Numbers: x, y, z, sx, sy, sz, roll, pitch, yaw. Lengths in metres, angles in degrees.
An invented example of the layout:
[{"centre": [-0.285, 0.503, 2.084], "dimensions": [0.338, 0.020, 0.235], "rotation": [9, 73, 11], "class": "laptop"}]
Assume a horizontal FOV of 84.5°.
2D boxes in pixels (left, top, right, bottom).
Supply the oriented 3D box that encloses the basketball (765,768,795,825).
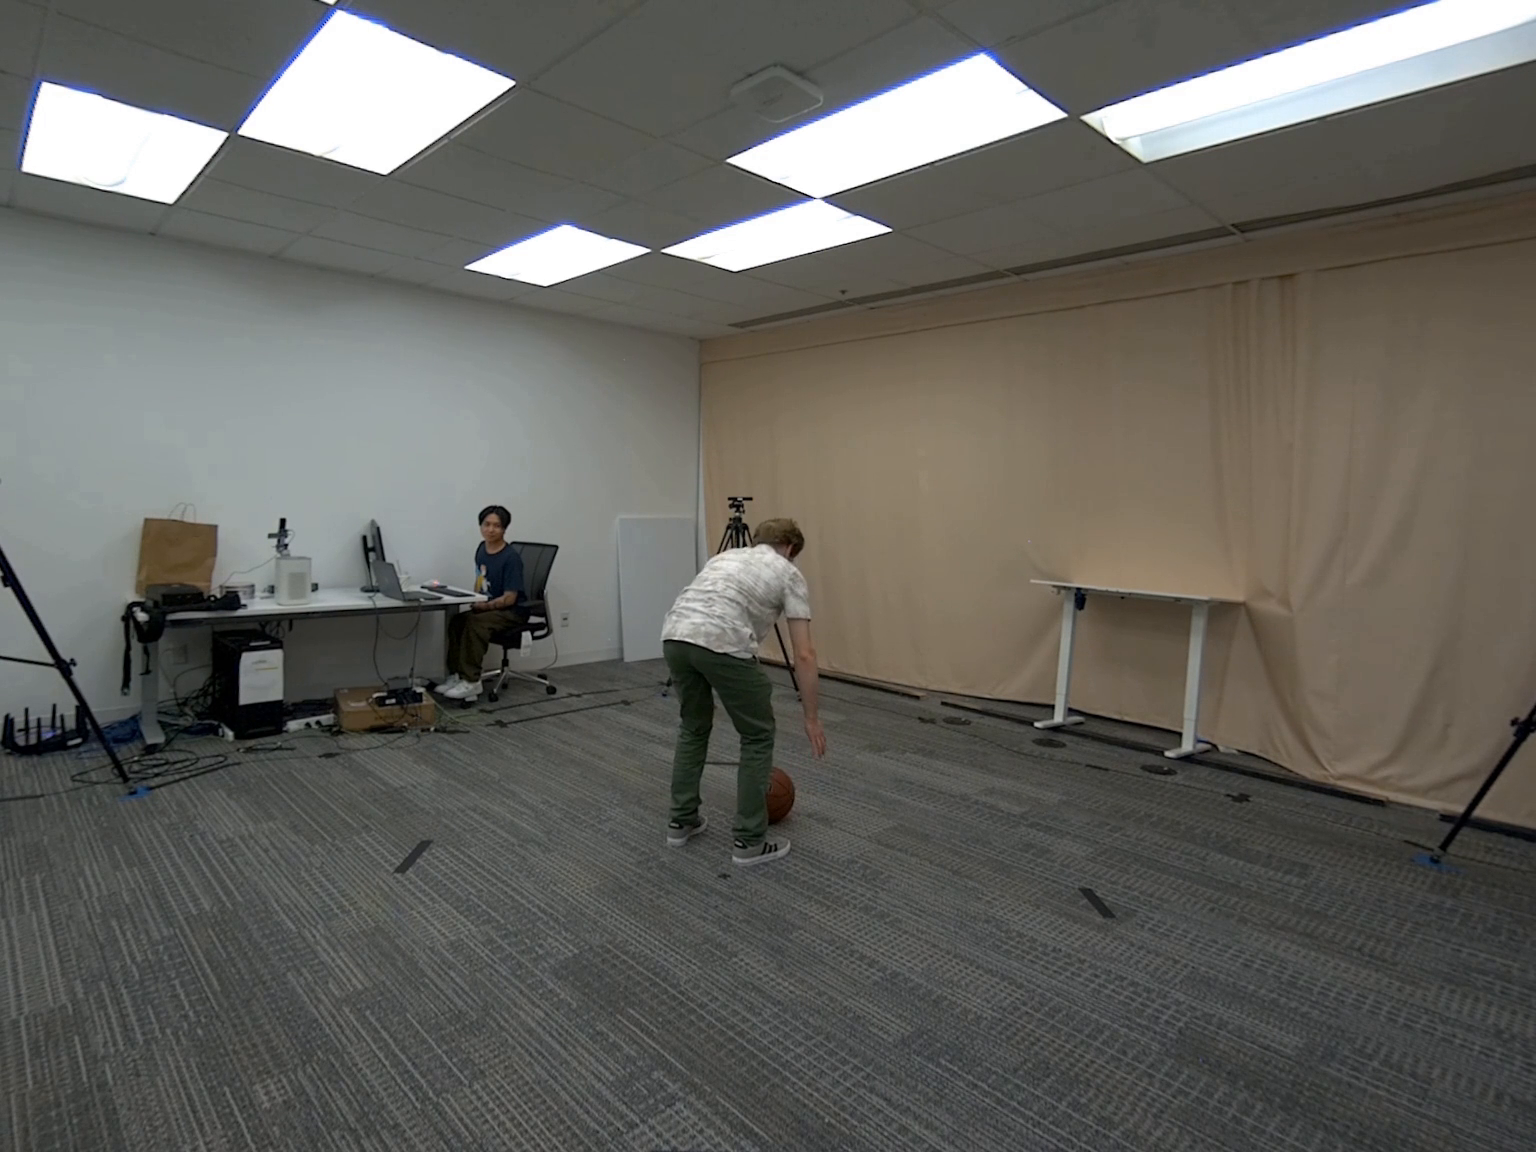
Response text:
[{"centre": [-0.013, 0.952, 3.654], "dimensions": [0.236, 0.235, 0.237], "rotation": [1, 4, -1], "class": "basketball"}]
